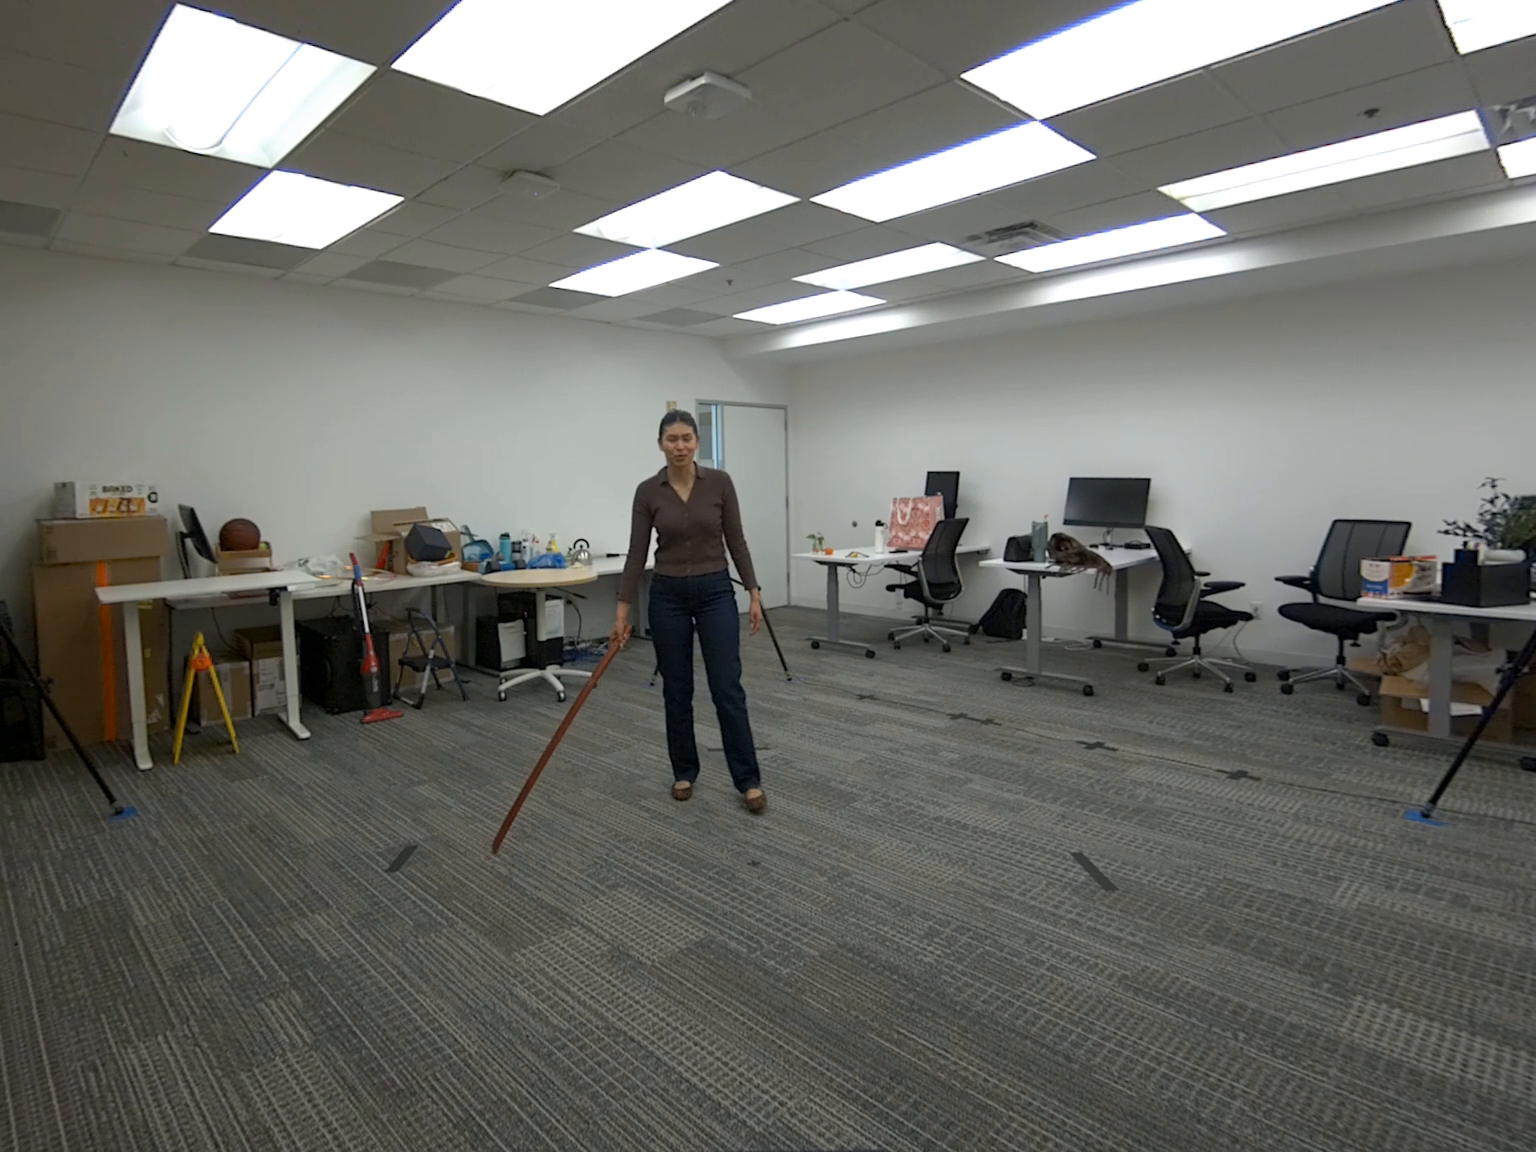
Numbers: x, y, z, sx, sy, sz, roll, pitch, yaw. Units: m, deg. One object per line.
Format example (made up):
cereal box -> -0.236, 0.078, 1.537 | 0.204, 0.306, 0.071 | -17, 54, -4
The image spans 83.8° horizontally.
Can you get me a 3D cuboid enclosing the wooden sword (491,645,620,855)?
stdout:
wooden sword -> -0.817, 0.627, 3.425 | 0.053, 1.032, 0.023 | 16, -26, 26
